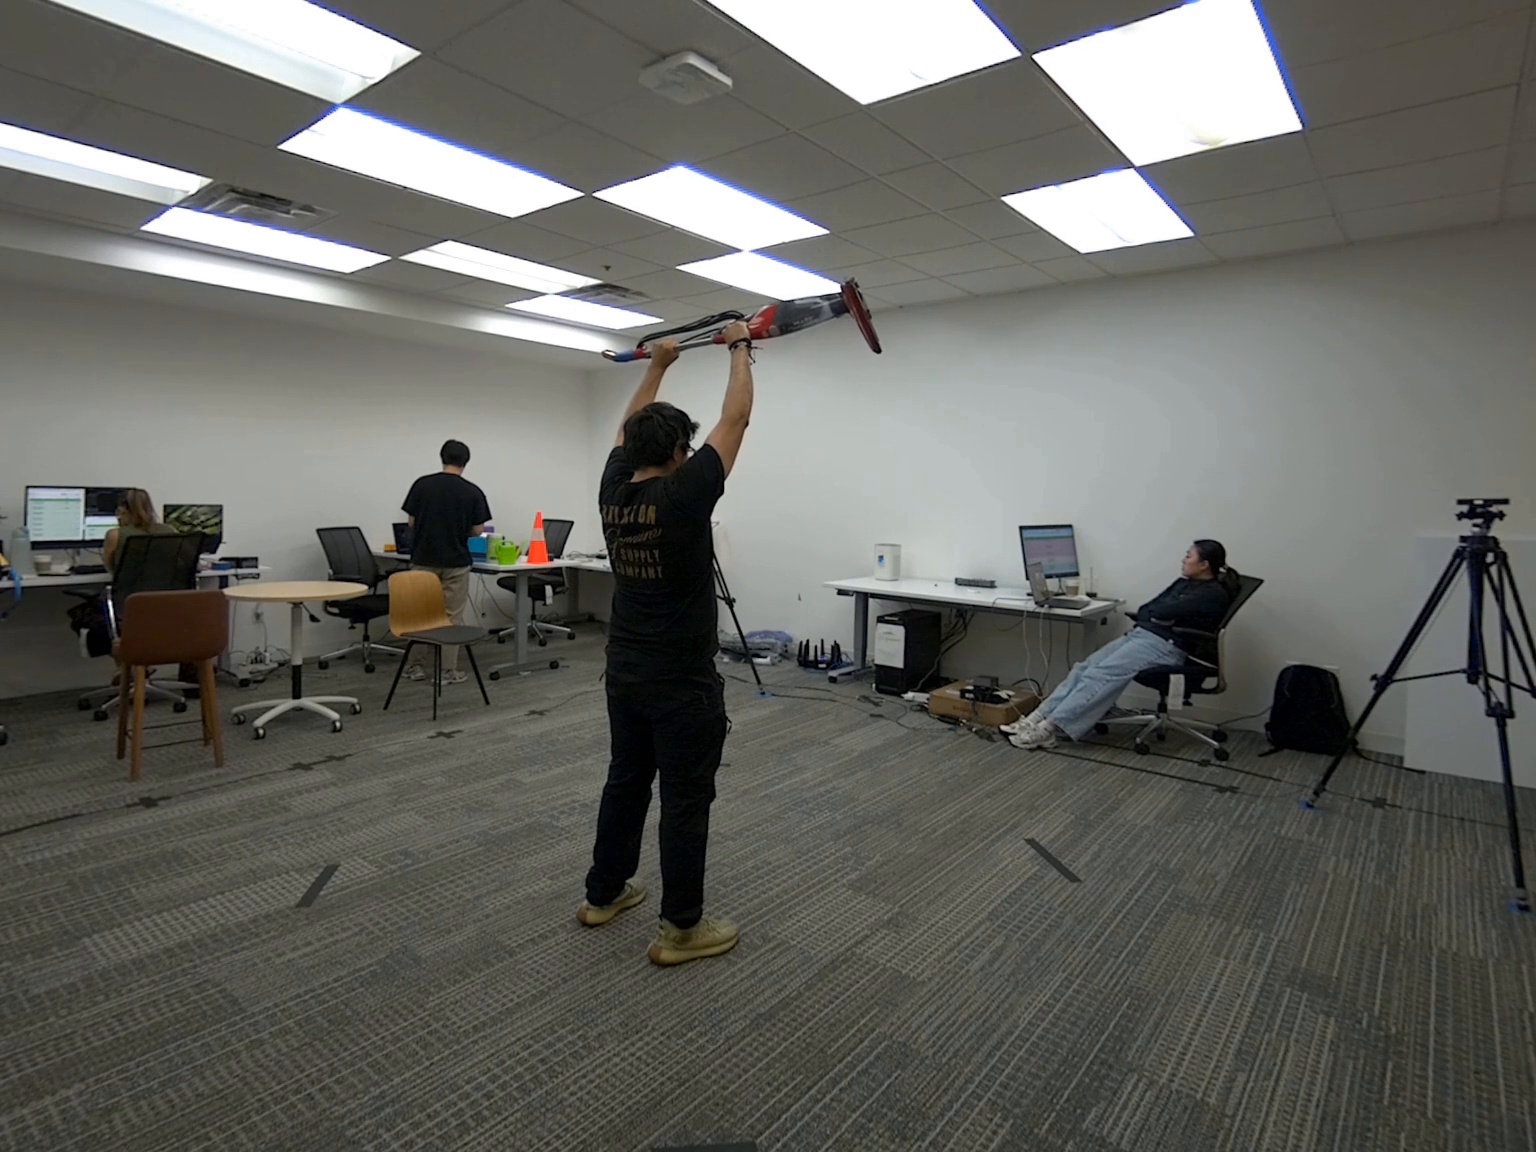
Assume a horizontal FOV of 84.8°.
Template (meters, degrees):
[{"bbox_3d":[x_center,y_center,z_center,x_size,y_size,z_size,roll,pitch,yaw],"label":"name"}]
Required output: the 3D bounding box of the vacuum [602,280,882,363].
[{"bbox_3d":[-0.166,-0.801,2.759,1.083,0.145,0.242,4,-32,36],"label":"vacuum"}]
